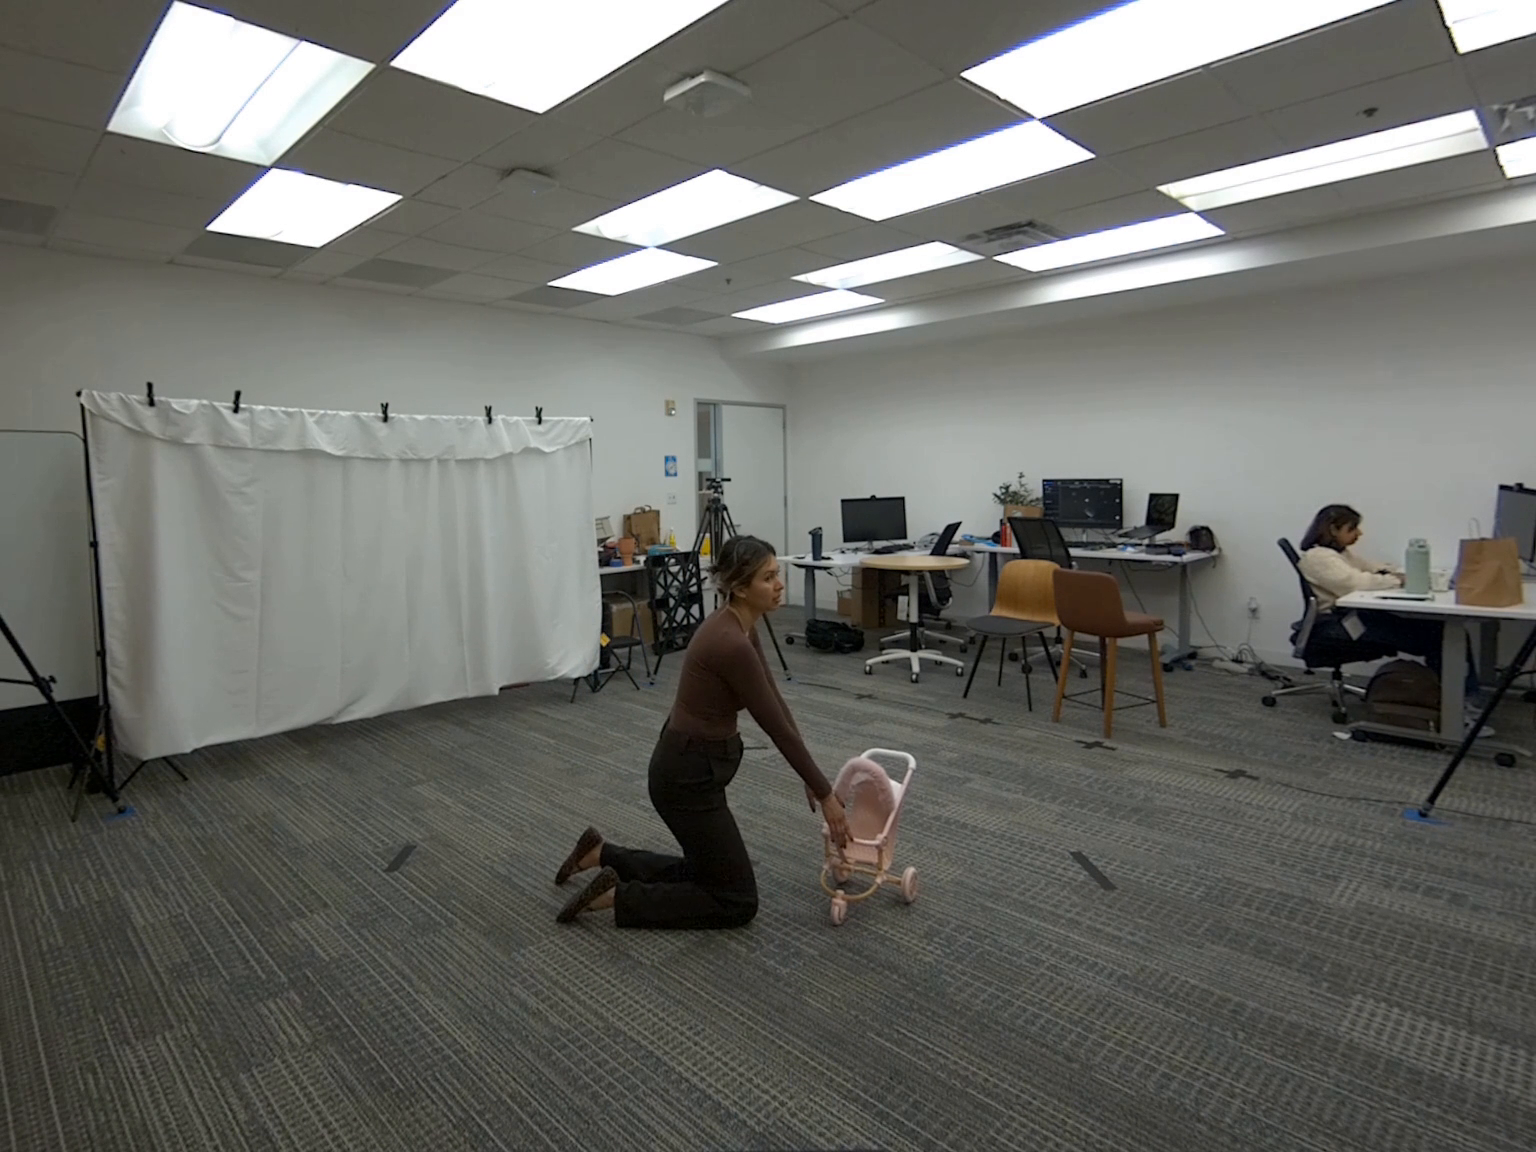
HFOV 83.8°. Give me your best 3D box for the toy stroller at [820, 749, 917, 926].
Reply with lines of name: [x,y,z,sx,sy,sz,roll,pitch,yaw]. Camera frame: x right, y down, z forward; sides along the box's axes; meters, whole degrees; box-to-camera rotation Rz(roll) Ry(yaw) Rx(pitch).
toy stroller: [0.315,0.840,2.813,0.289,0.538,0.329,0,-10,39]
